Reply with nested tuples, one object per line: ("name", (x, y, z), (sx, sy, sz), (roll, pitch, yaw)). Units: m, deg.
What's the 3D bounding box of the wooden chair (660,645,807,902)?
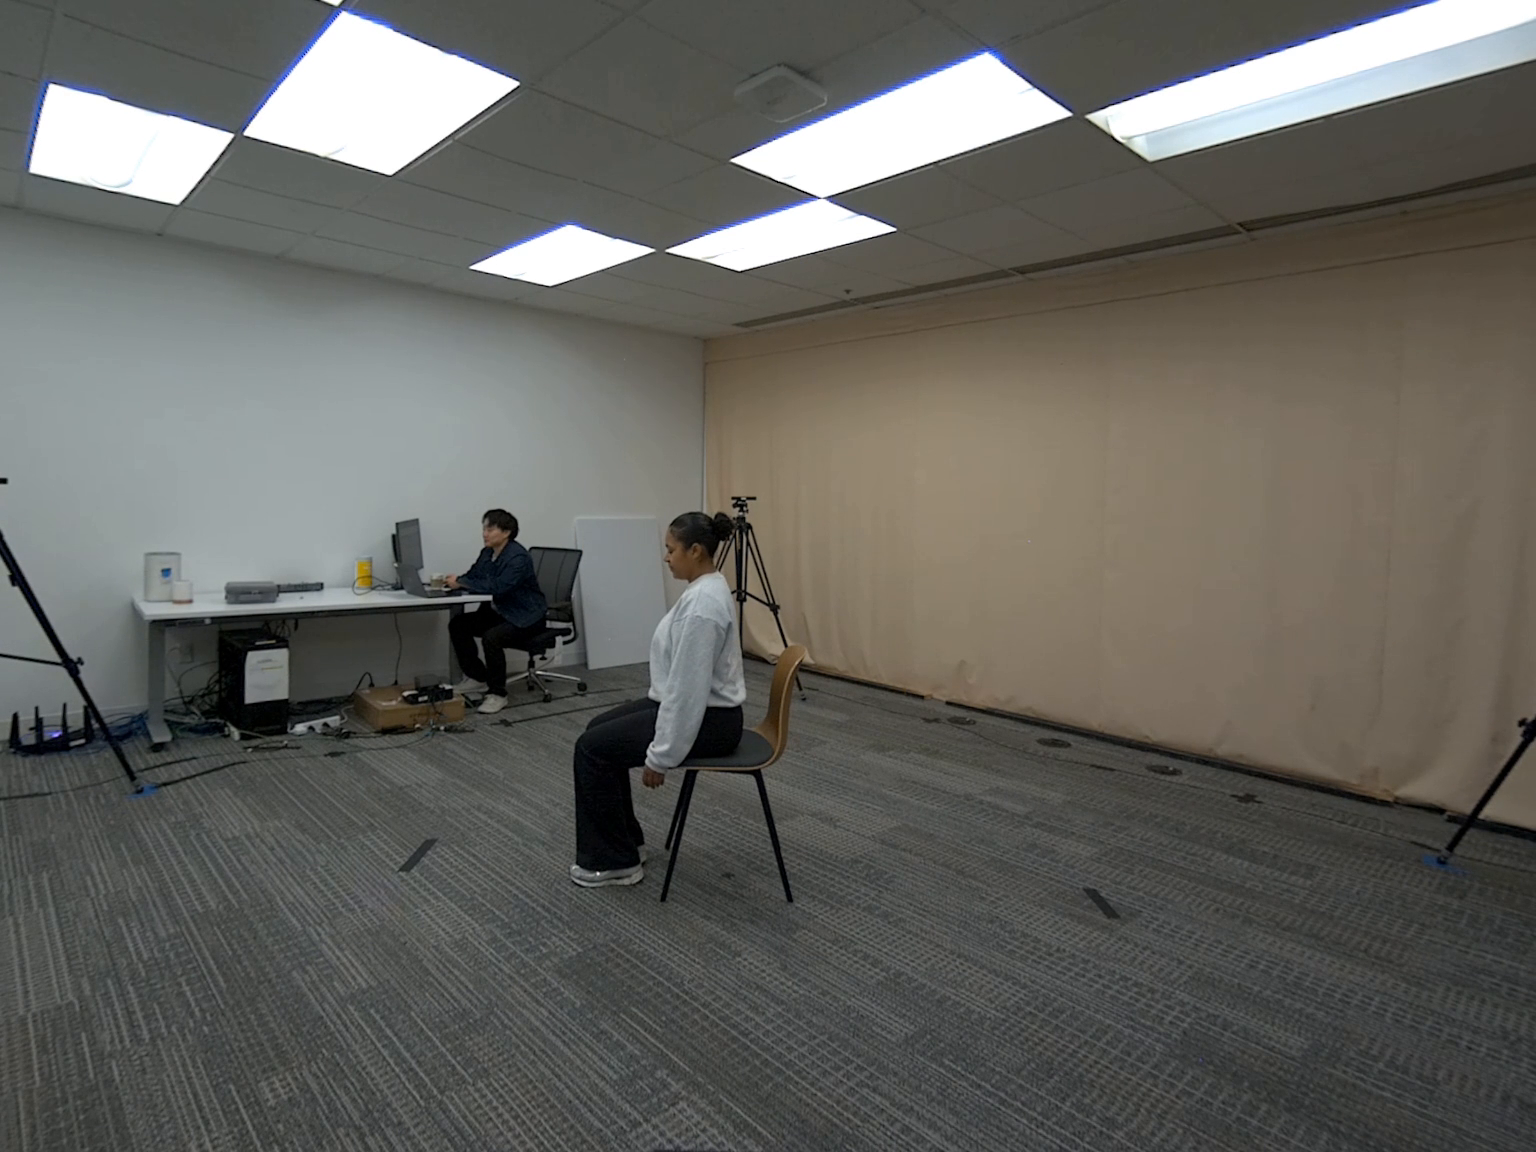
("wooden chair", (-0.163, 0.681, 3.089), (0.521, 0.875, 0.481), (4, 4, -4))
